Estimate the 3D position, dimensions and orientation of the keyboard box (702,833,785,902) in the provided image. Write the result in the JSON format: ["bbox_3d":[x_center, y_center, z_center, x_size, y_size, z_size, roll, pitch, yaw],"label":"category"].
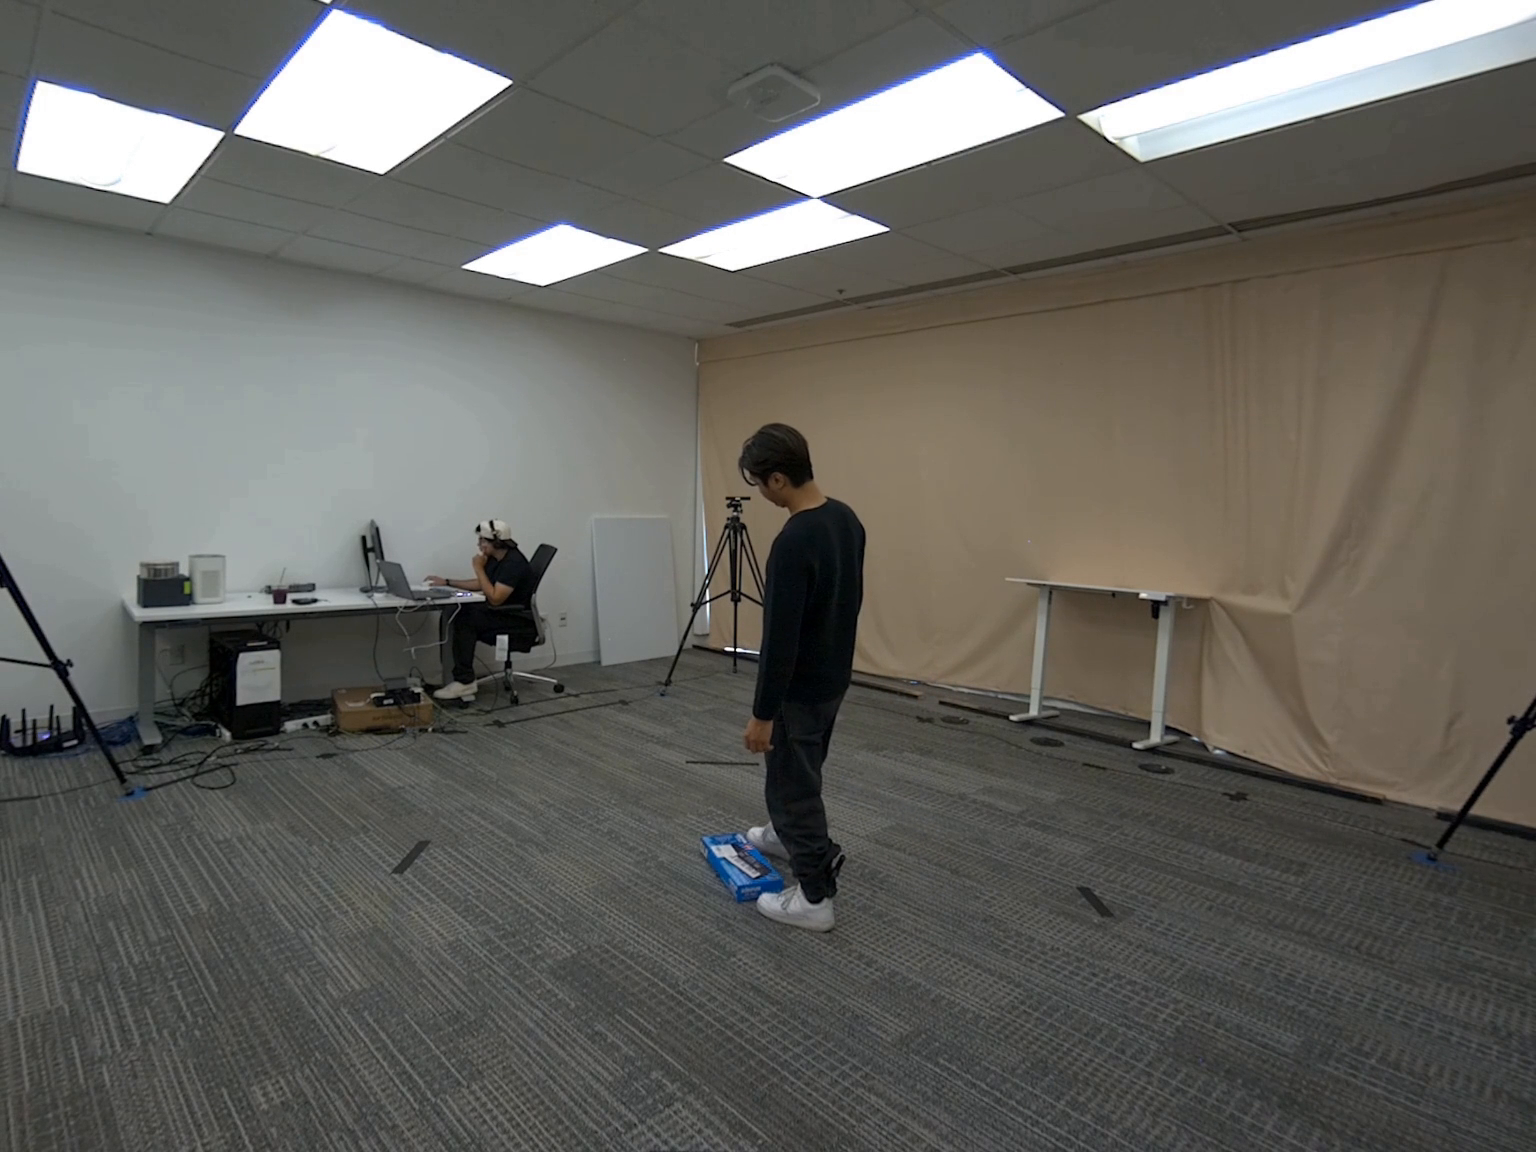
[{"bbox_3d":[-0.111,1.075,3.128,0.173,0.059,0.445,-1,5,-21],"label":"keyboard box"}]
